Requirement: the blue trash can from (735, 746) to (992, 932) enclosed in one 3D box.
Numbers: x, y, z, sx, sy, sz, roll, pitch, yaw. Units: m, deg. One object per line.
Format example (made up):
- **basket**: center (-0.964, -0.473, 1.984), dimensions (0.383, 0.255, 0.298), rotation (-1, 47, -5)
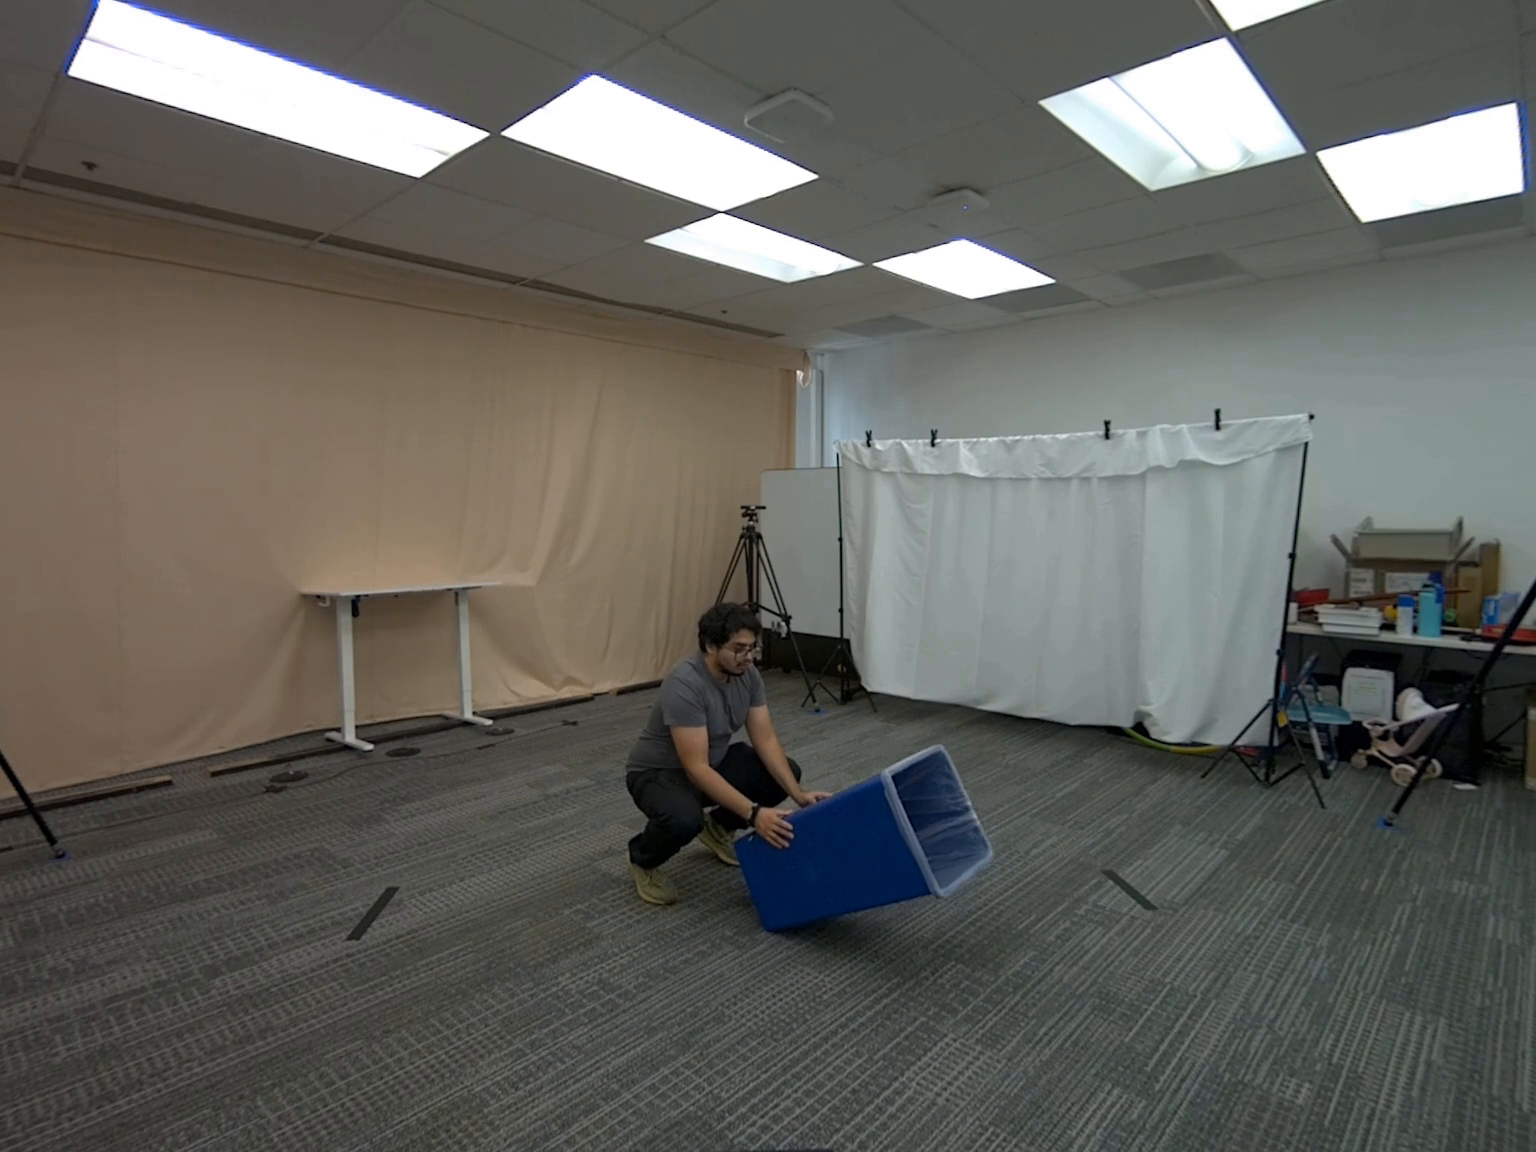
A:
- **blue trash can**: center (0.274, 0.864, 2.679), dimensions (0.724, 0.384, 0.363), rotation (-34, -18, 36)
